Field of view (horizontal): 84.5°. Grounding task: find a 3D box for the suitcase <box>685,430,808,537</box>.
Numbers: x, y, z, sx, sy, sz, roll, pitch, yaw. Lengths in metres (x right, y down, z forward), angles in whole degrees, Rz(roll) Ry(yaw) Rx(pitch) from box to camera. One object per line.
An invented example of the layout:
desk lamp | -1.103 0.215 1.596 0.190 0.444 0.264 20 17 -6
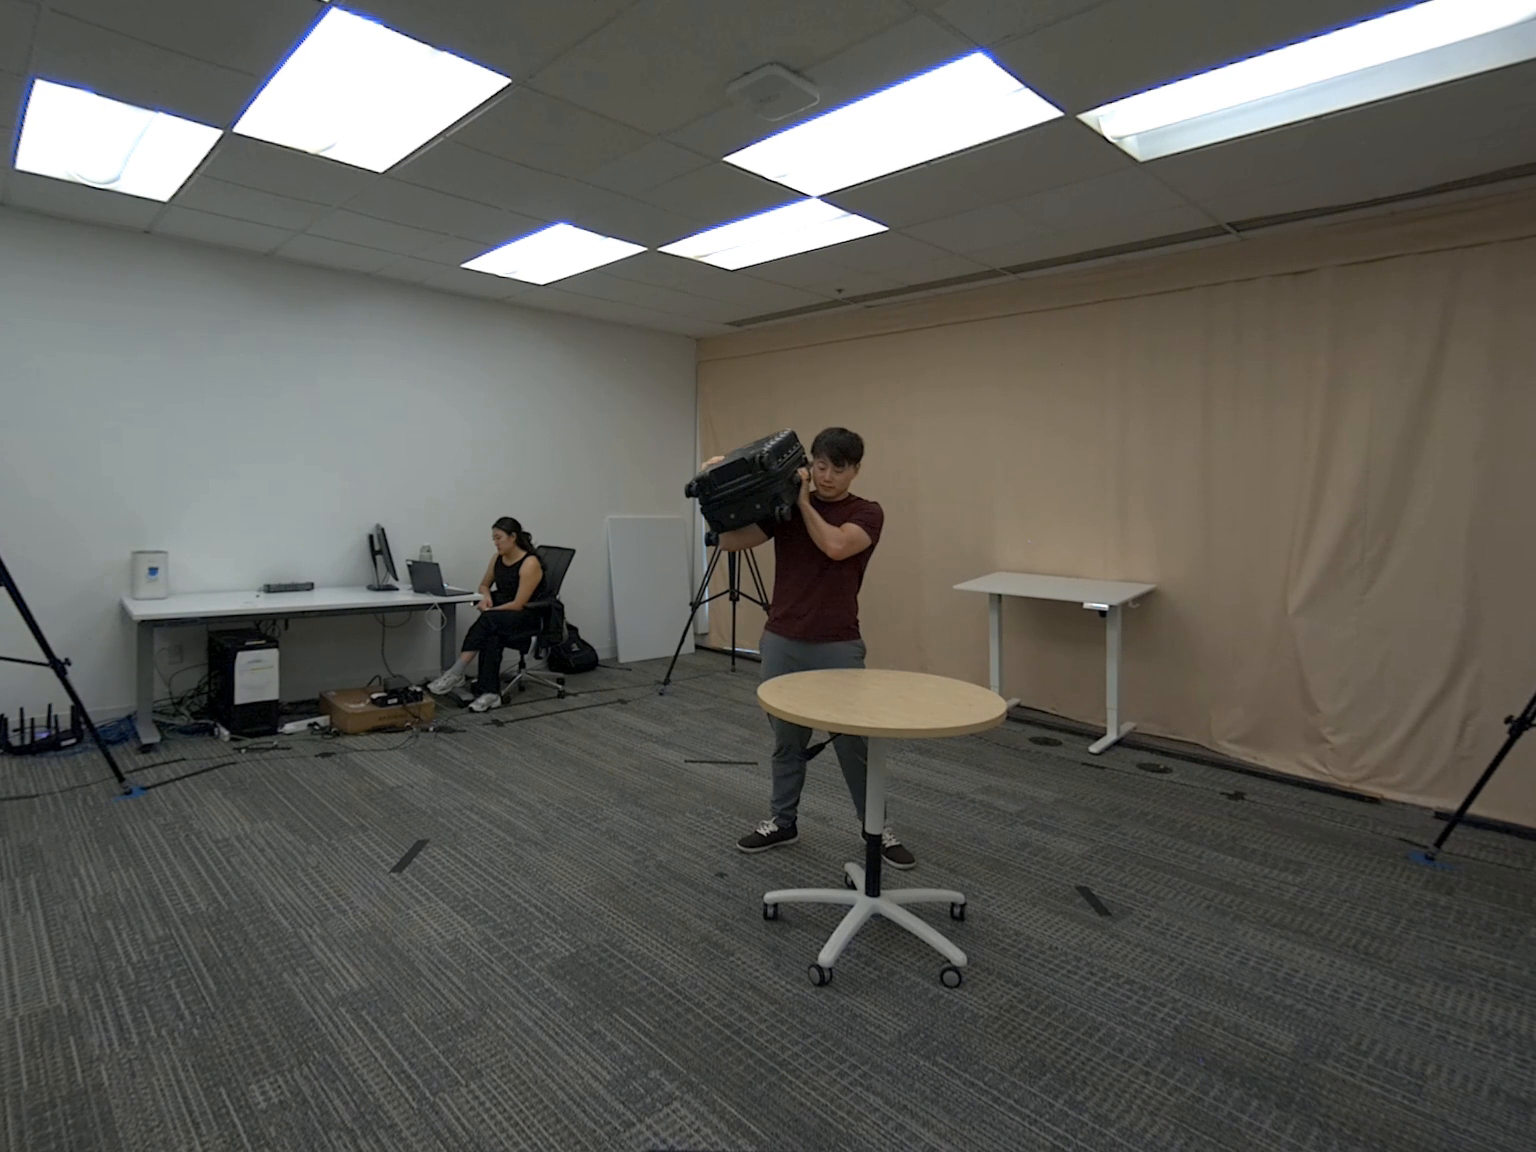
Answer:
suitcase | -0.009 -0.445 3.441 0.388 0.254 0.981 -19 15 20
